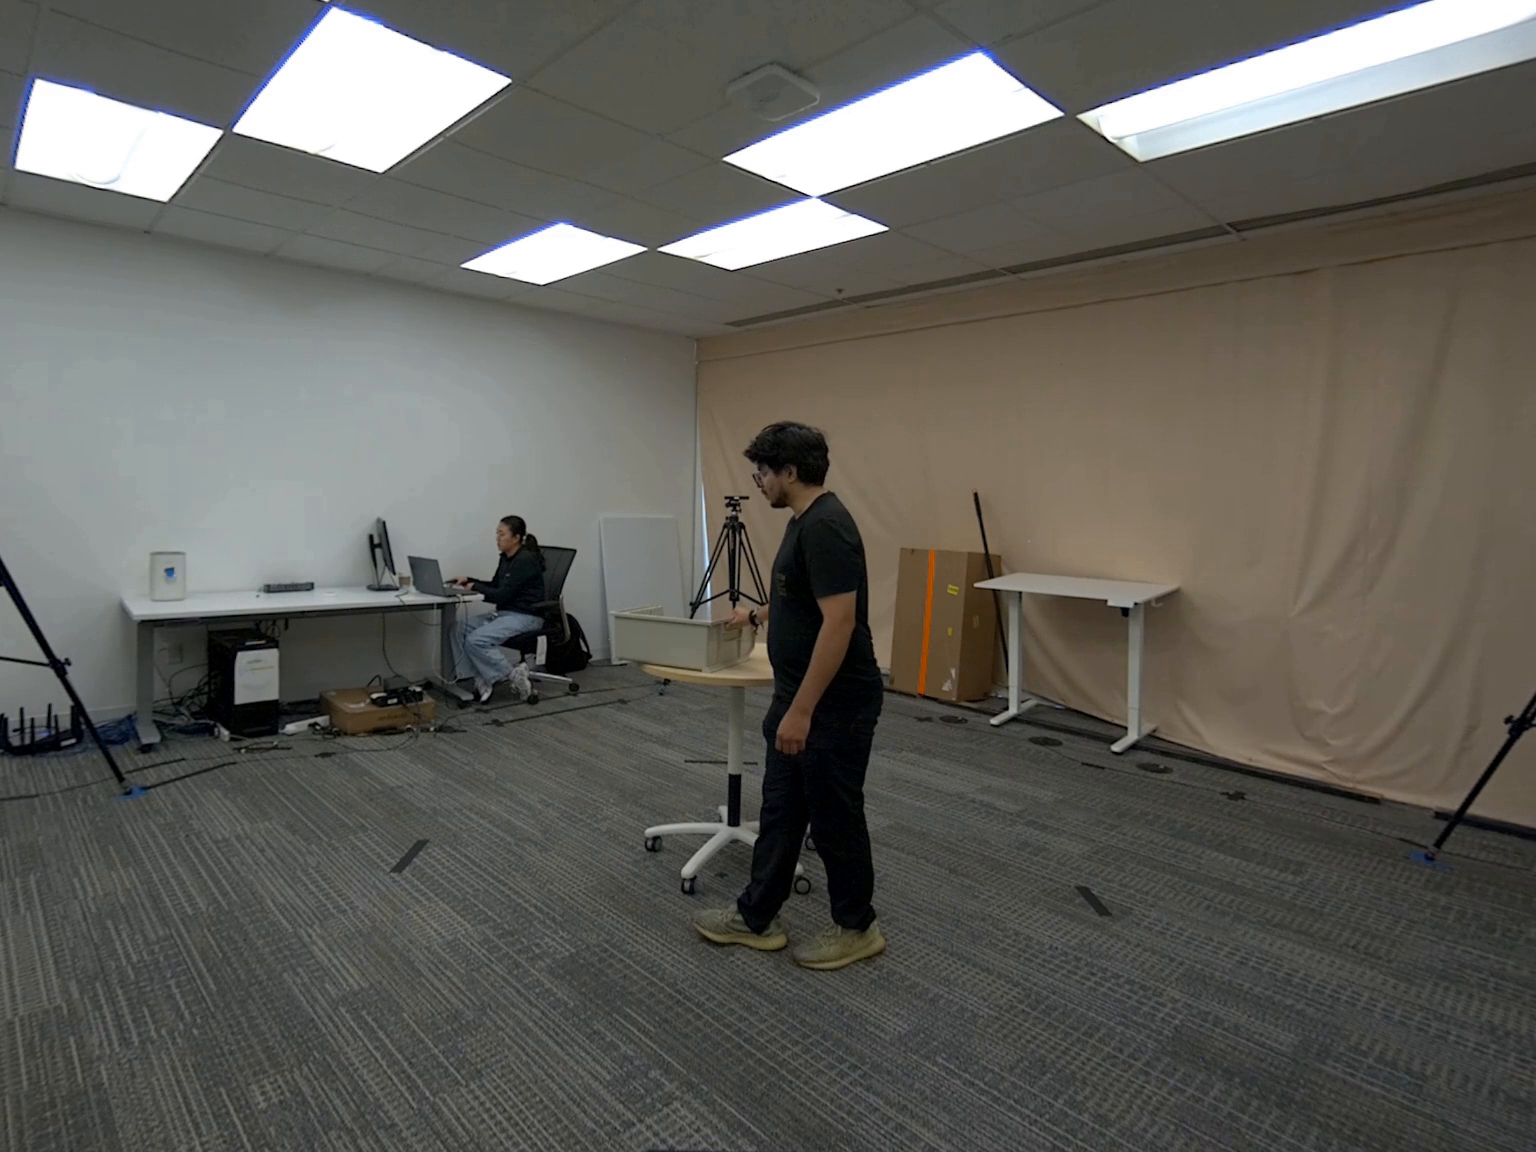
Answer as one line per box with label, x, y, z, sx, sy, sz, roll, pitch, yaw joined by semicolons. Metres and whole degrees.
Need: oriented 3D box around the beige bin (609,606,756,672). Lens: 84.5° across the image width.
beige bin;-0.312;0.223;3.129;0.431;0.188;0.371;4;7;26
